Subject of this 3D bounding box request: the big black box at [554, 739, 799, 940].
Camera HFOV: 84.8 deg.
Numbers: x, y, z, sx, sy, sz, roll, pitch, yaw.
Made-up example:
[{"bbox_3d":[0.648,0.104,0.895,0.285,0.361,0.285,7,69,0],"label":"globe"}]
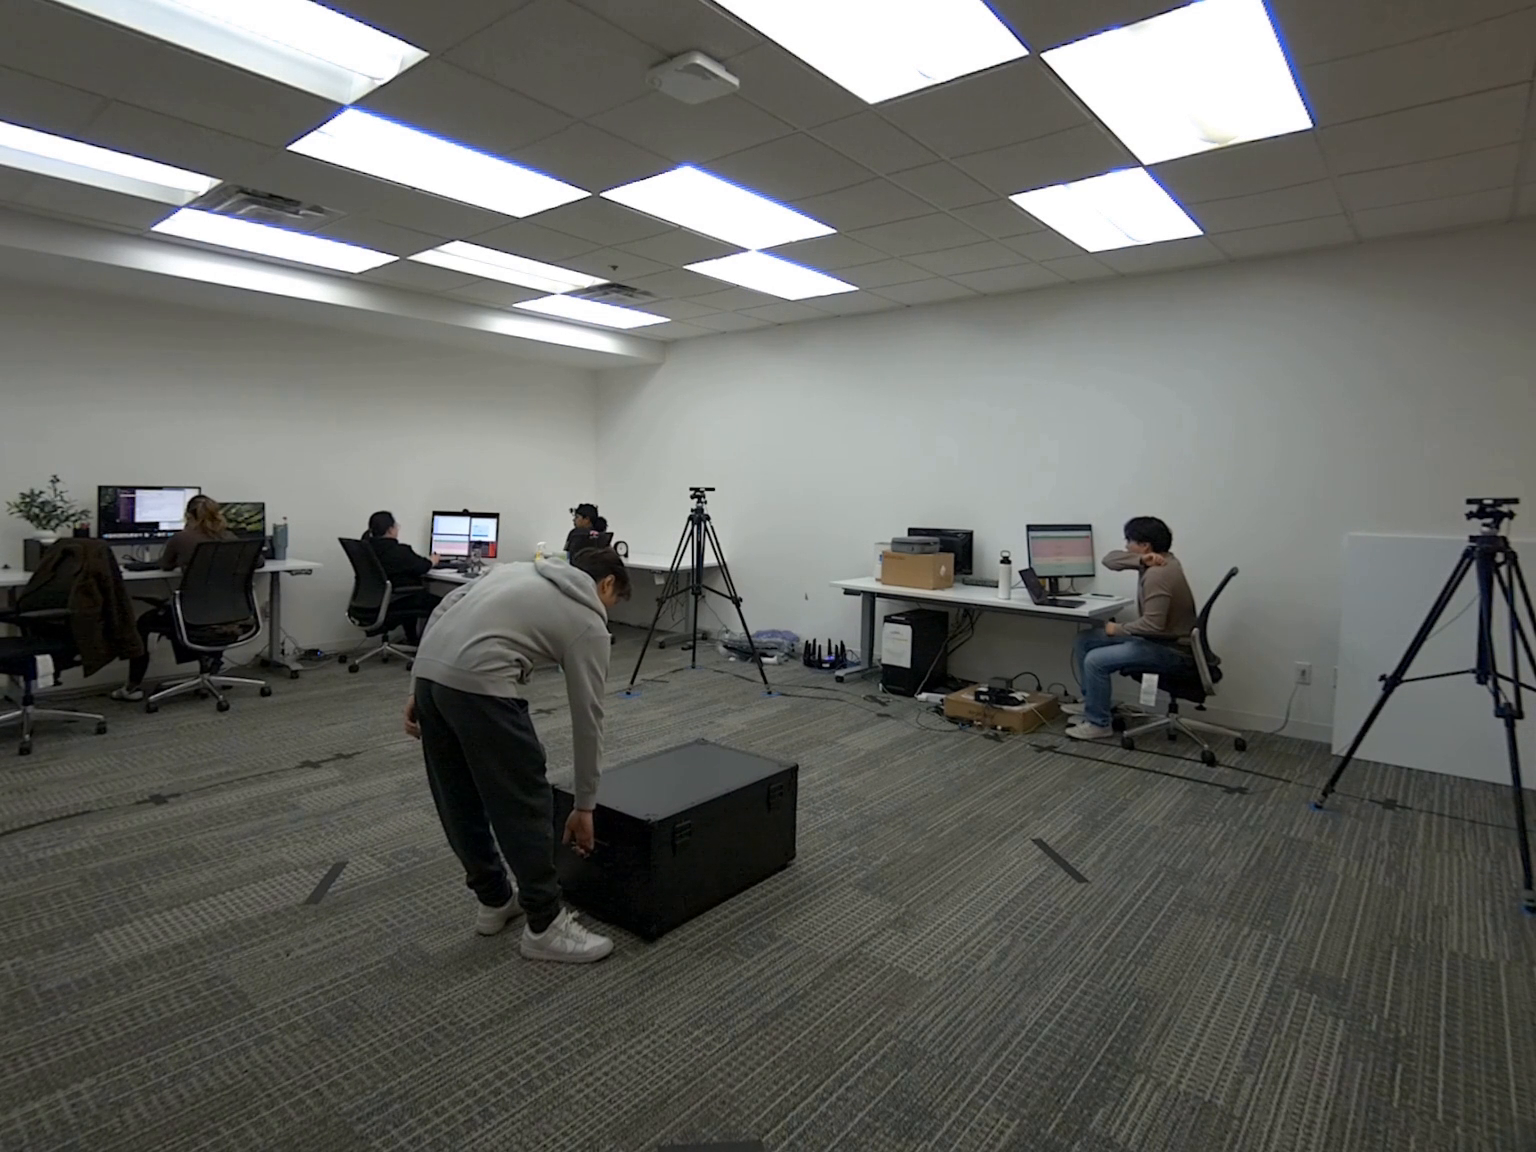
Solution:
[{"bbox_3d":[-0.299,0.881,3.029,0.538,0.395,0.837,5,6,37],"label":"big black box"}]
